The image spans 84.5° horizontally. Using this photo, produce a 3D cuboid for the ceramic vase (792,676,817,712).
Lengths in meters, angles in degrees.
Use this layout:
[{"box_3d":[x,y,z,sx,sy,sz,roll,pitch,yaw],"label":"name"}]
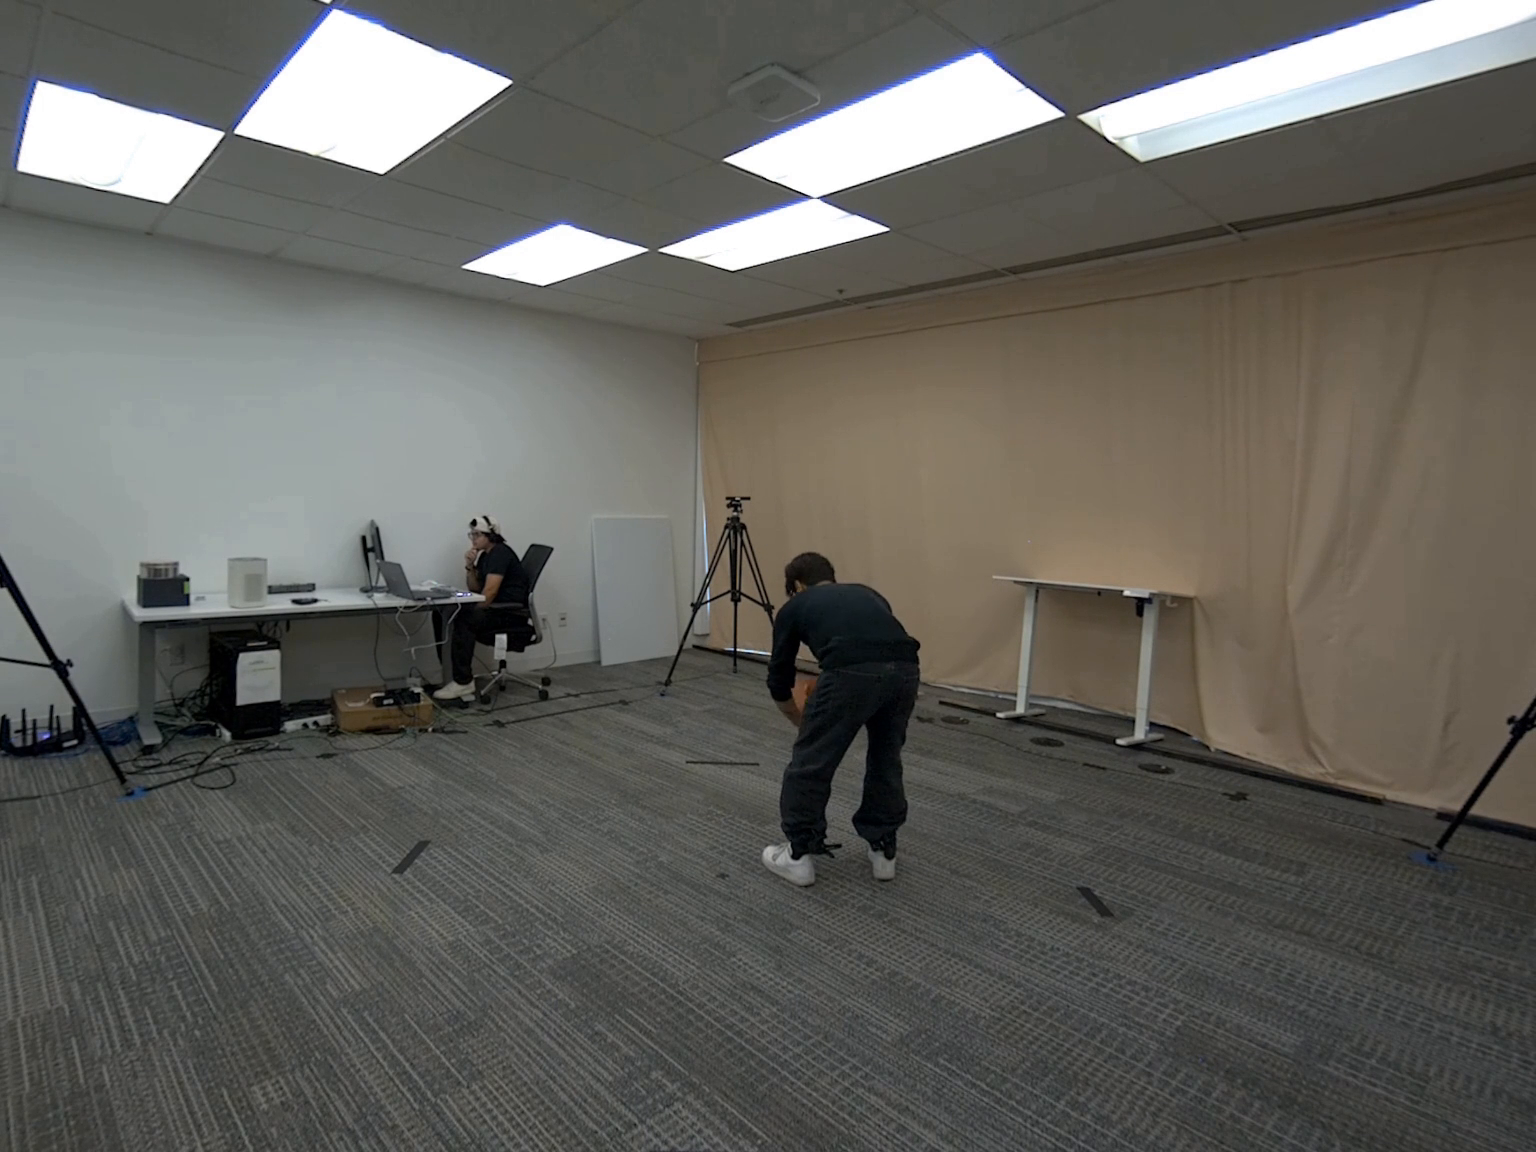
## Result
[{"box_3d":[0.181,0.541,3.539,0.155,0.223,0.136,-1,-21,-41],"label":"ceramic vase"}]
